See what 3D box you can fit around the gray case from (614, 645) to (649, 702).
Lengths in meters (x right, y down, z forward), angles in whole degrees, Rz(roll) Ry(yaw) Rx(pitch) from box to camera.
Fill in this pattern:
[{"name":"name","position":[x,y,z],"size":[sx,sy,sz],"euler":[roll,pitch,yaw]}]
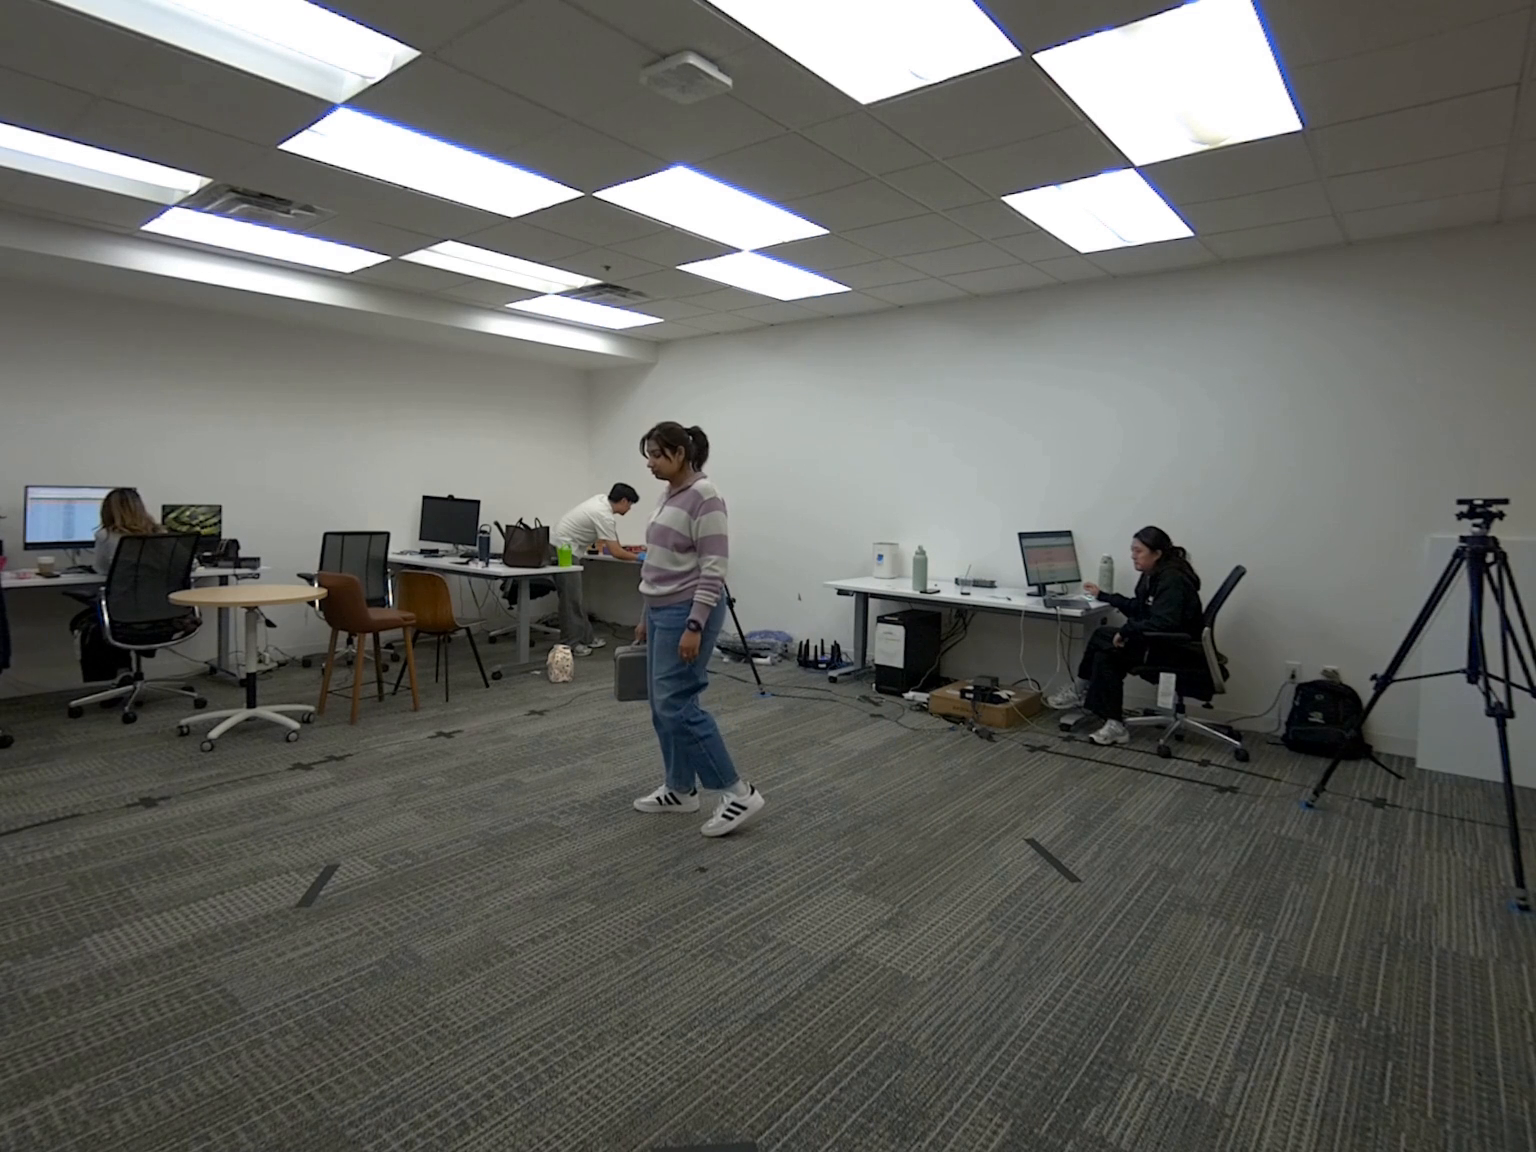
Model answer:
[{"name":"gray case","position":[-0.594,0.441,3.920],"size":[0.253,0.256,0.107],"euler":[-1,21,-13]}]
